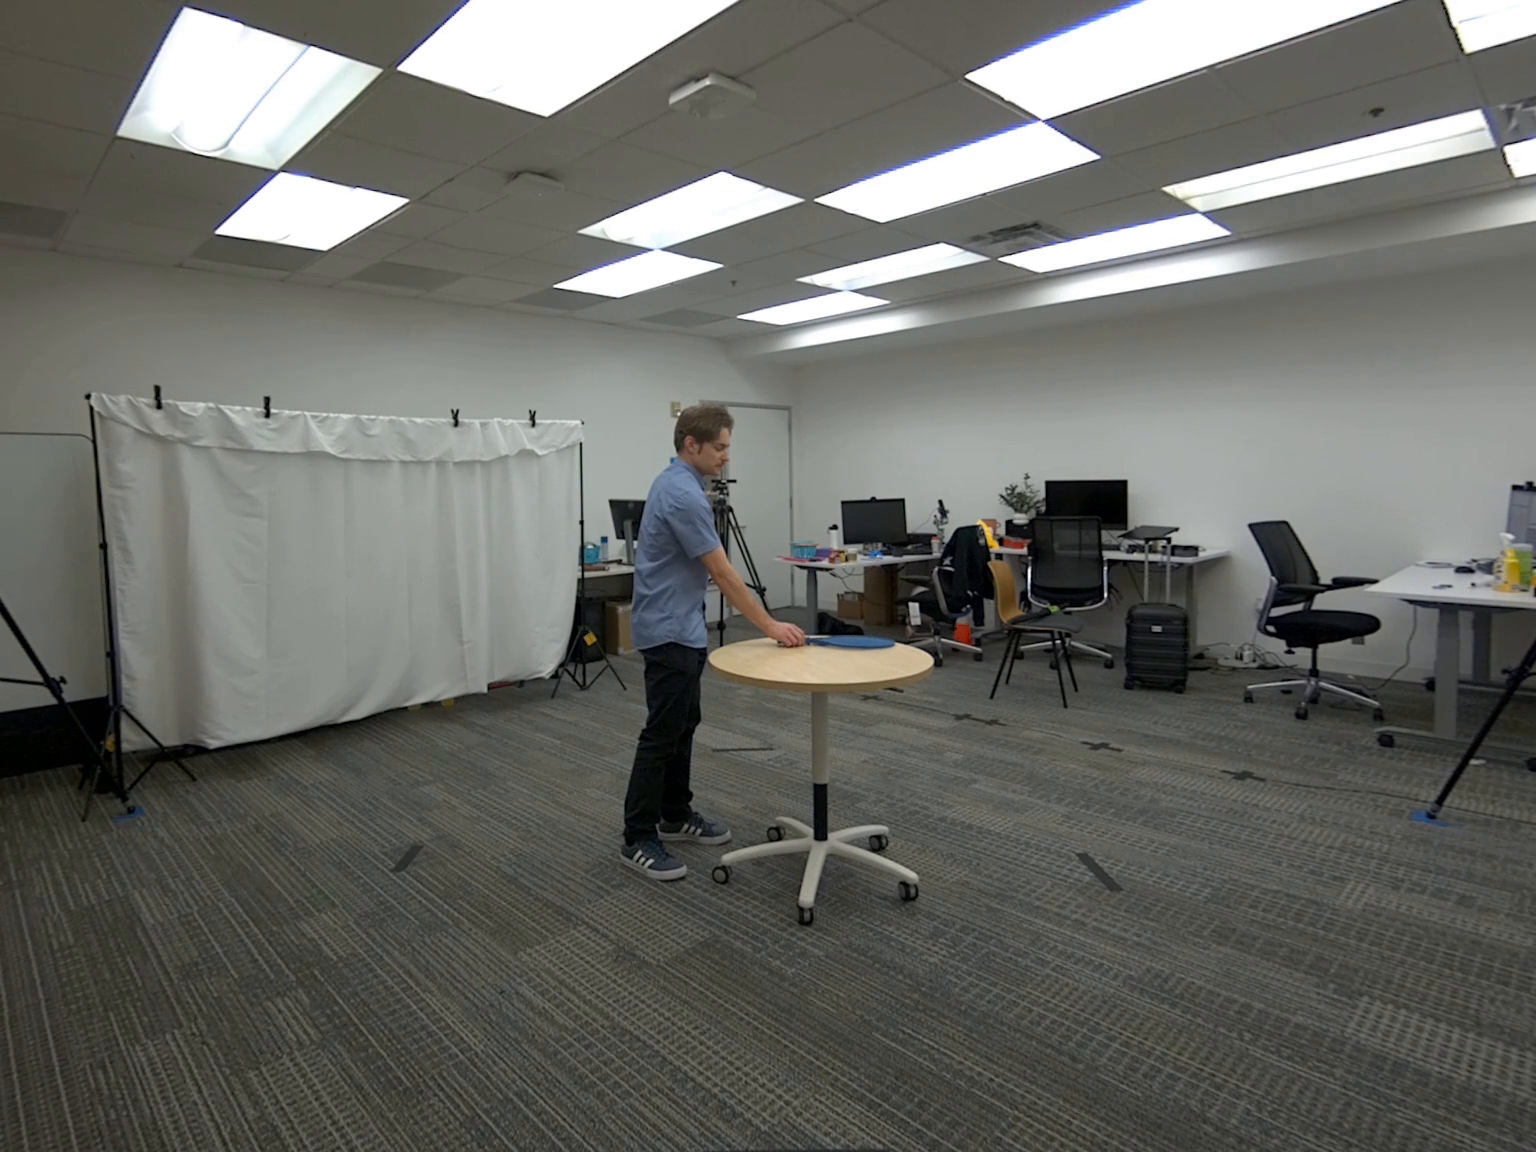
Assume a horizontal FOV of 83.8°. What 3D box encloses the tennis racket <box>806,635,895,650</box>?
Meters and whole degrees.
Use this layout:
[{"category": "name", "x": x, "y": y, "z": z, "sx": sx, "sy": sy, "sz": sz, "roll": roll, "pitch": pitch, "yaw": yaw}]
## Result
[{"category": "tennis racket", "x": 0.251, "y": 0.242, "z": 3.157, "sx": 0.433, "sy": 0.031, "sz": 0.215, "roll": 0, "pitch": 7, "yaw": 0}]
